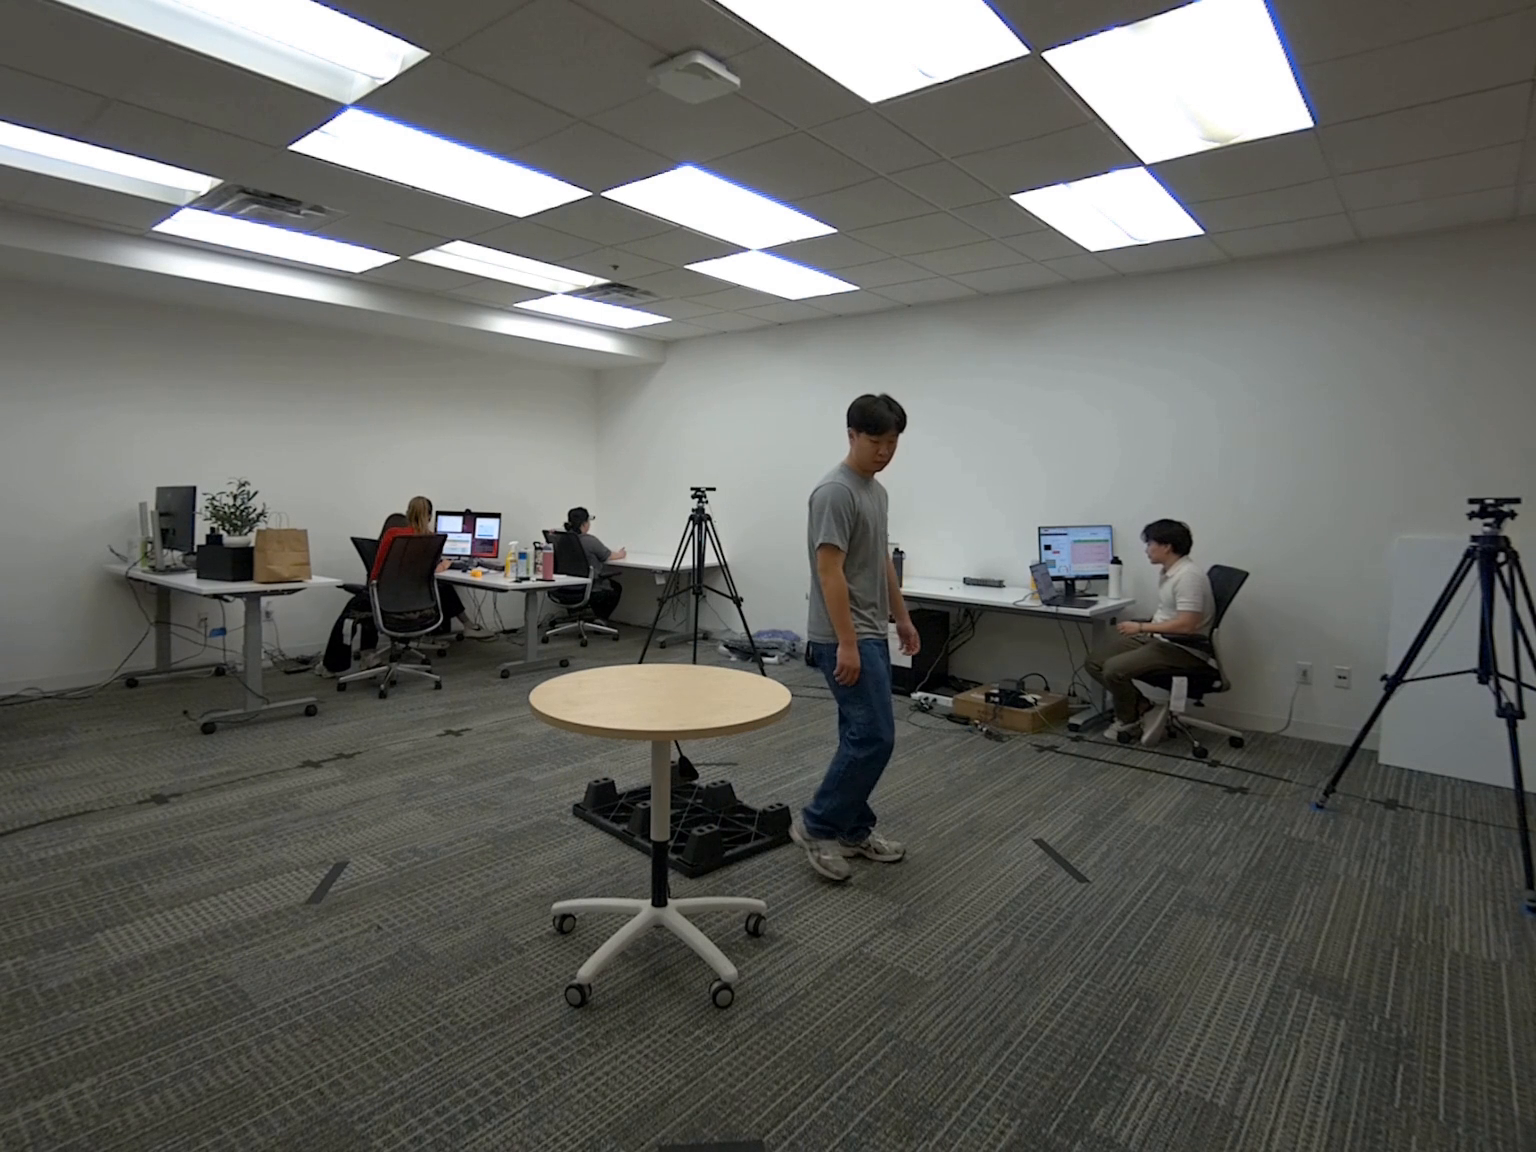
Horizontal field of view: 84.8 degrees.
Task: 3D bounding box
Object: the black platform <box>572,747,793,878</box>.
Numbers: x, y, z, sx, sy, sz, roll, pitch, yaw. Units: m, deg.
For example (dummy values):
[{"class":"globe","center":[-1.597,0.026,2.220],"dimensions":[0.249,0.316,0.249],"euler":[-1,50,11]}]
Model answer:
[{"class":"black platform","center":[-0.358,0.959,3.504],"dimensions":[0.587,0.143,0.833],"euler":[-4,7,-44]}]
